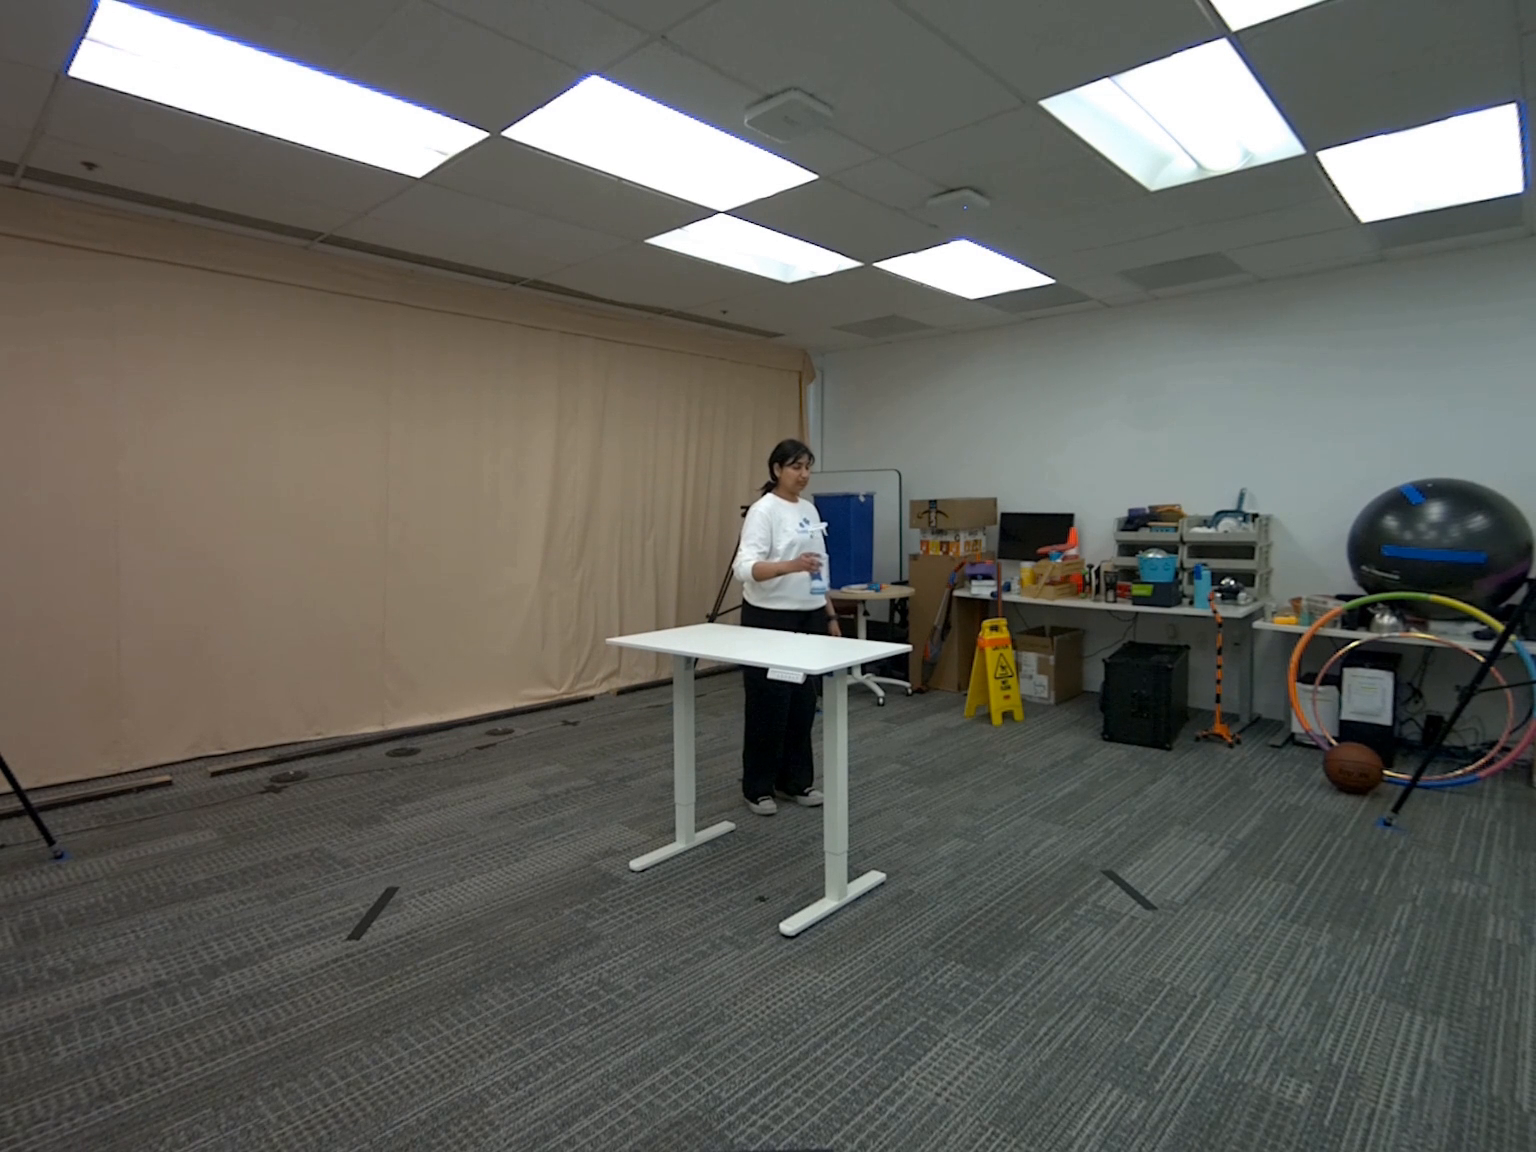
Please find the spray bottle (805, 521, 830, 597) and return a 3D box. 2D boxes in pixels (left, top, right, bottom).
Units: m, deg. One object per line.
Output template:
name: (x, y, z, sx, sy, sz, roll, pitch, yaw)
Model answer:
spray bottle: (0.213, -0.069, 3.527, 0.090, 0.296, 0.087, -3, 4, 1)
